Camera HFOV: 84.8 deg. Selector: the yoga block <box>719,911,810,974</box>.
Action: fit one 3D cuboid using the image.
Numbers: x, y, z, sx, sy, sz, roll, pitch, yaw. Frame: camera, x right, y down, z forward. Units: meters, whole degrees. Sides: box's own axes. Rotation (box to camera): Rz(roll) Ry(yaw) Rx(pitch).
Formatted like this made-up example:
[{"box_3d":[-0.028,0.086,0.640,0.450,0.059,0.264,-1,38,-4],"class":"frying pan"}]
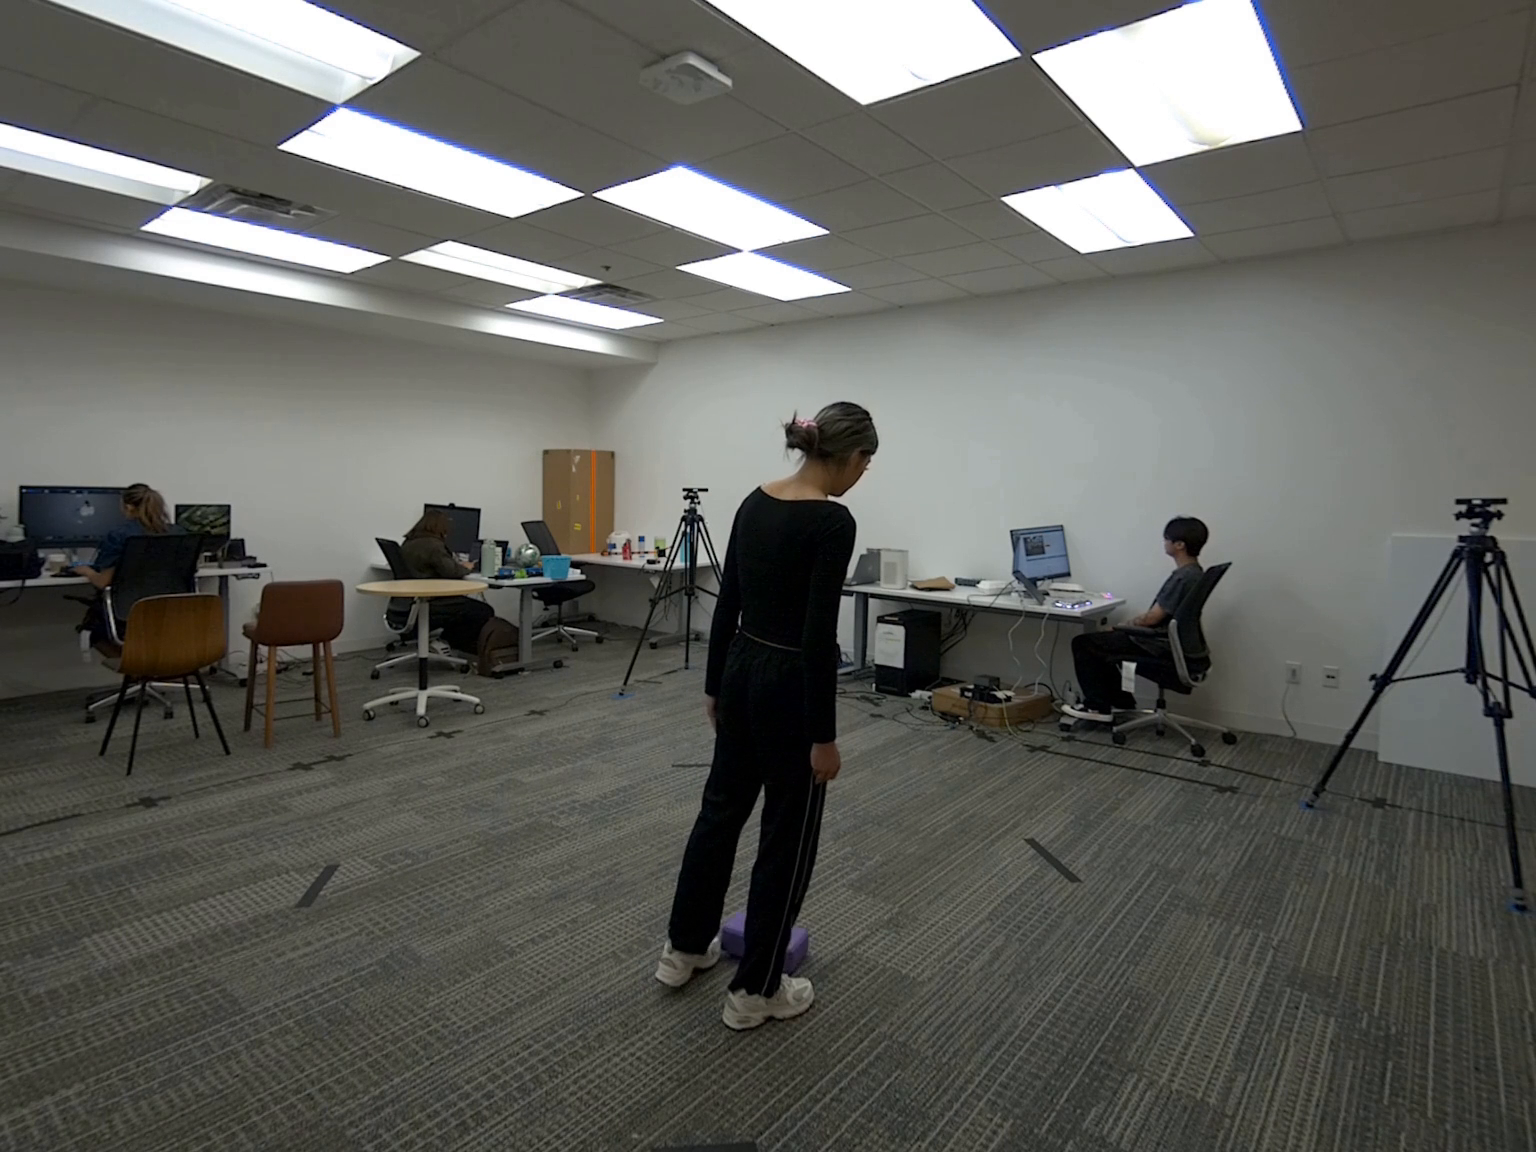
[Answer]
[{"box_3d":[-0.007,1.081,2.537,0.236,0.076,0.145,7,5,25],"class":"yoga block"}]
